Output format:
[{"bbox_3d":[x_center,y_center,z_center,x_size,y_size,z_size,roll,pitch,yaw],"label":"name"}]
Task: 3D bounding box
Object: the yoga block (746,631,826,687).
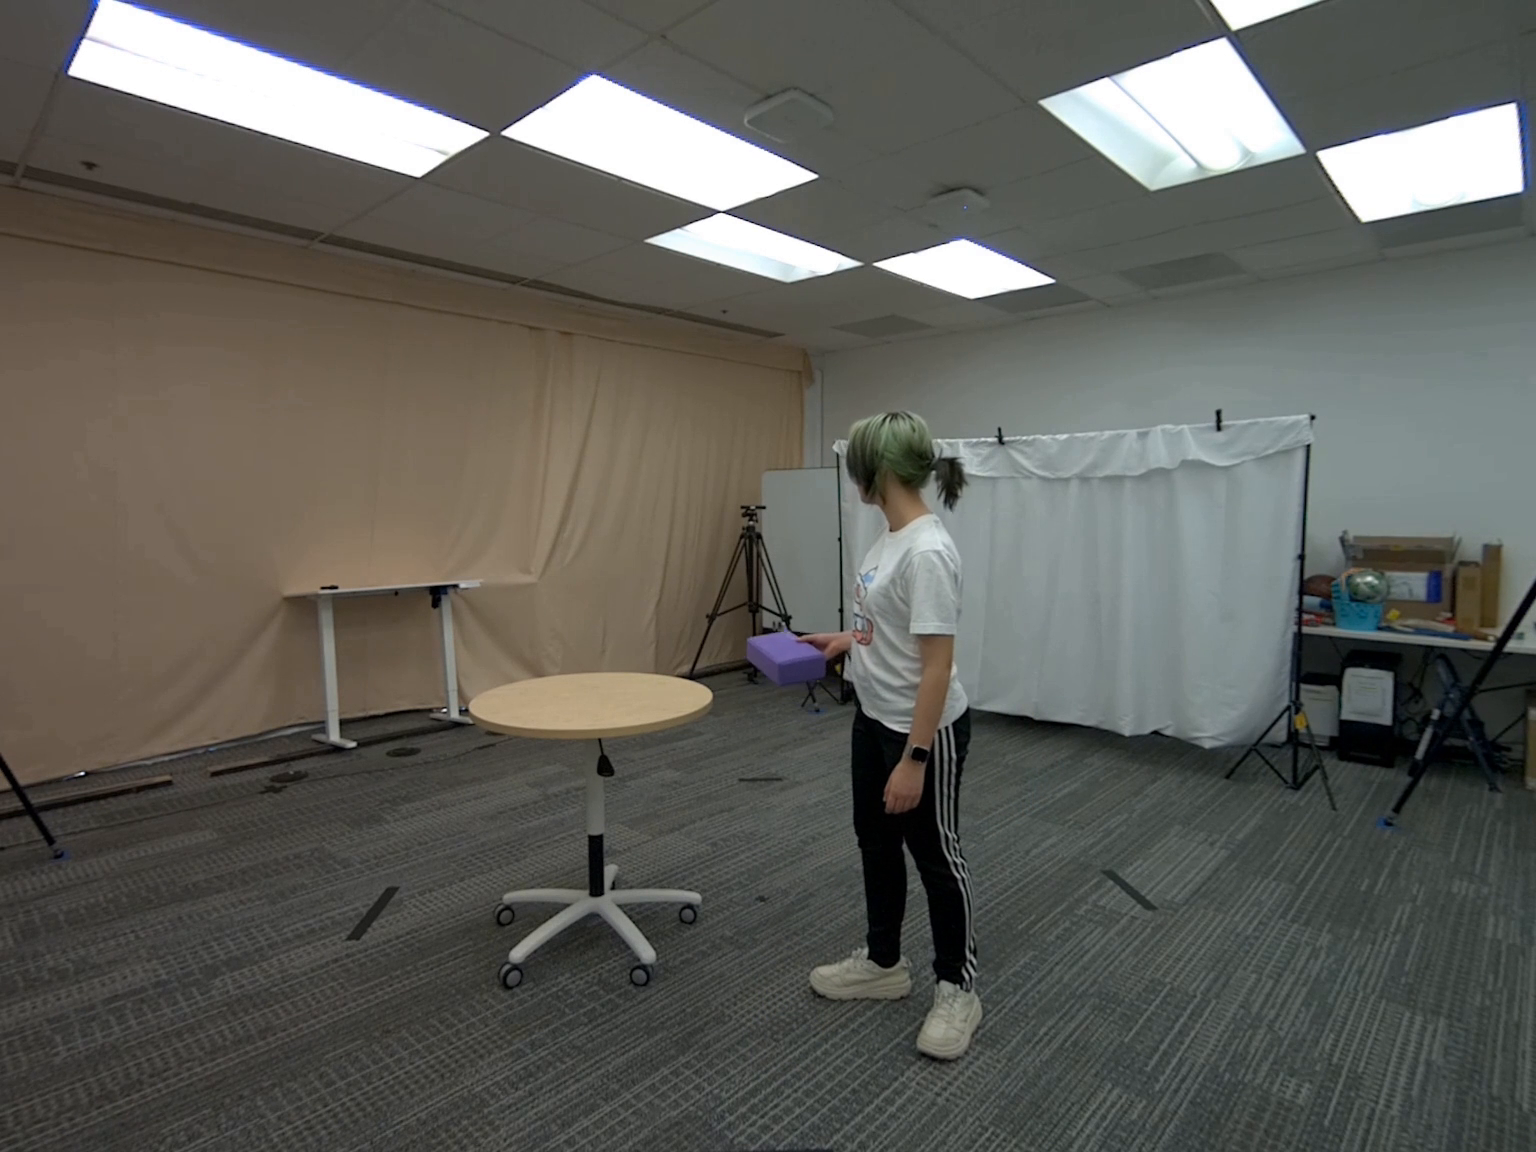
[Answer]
[{"bbox_3d":[0.053,0.238,2.432,0.147,0.076,0.234,-4,12,-16],"label":"yoga block"}]
